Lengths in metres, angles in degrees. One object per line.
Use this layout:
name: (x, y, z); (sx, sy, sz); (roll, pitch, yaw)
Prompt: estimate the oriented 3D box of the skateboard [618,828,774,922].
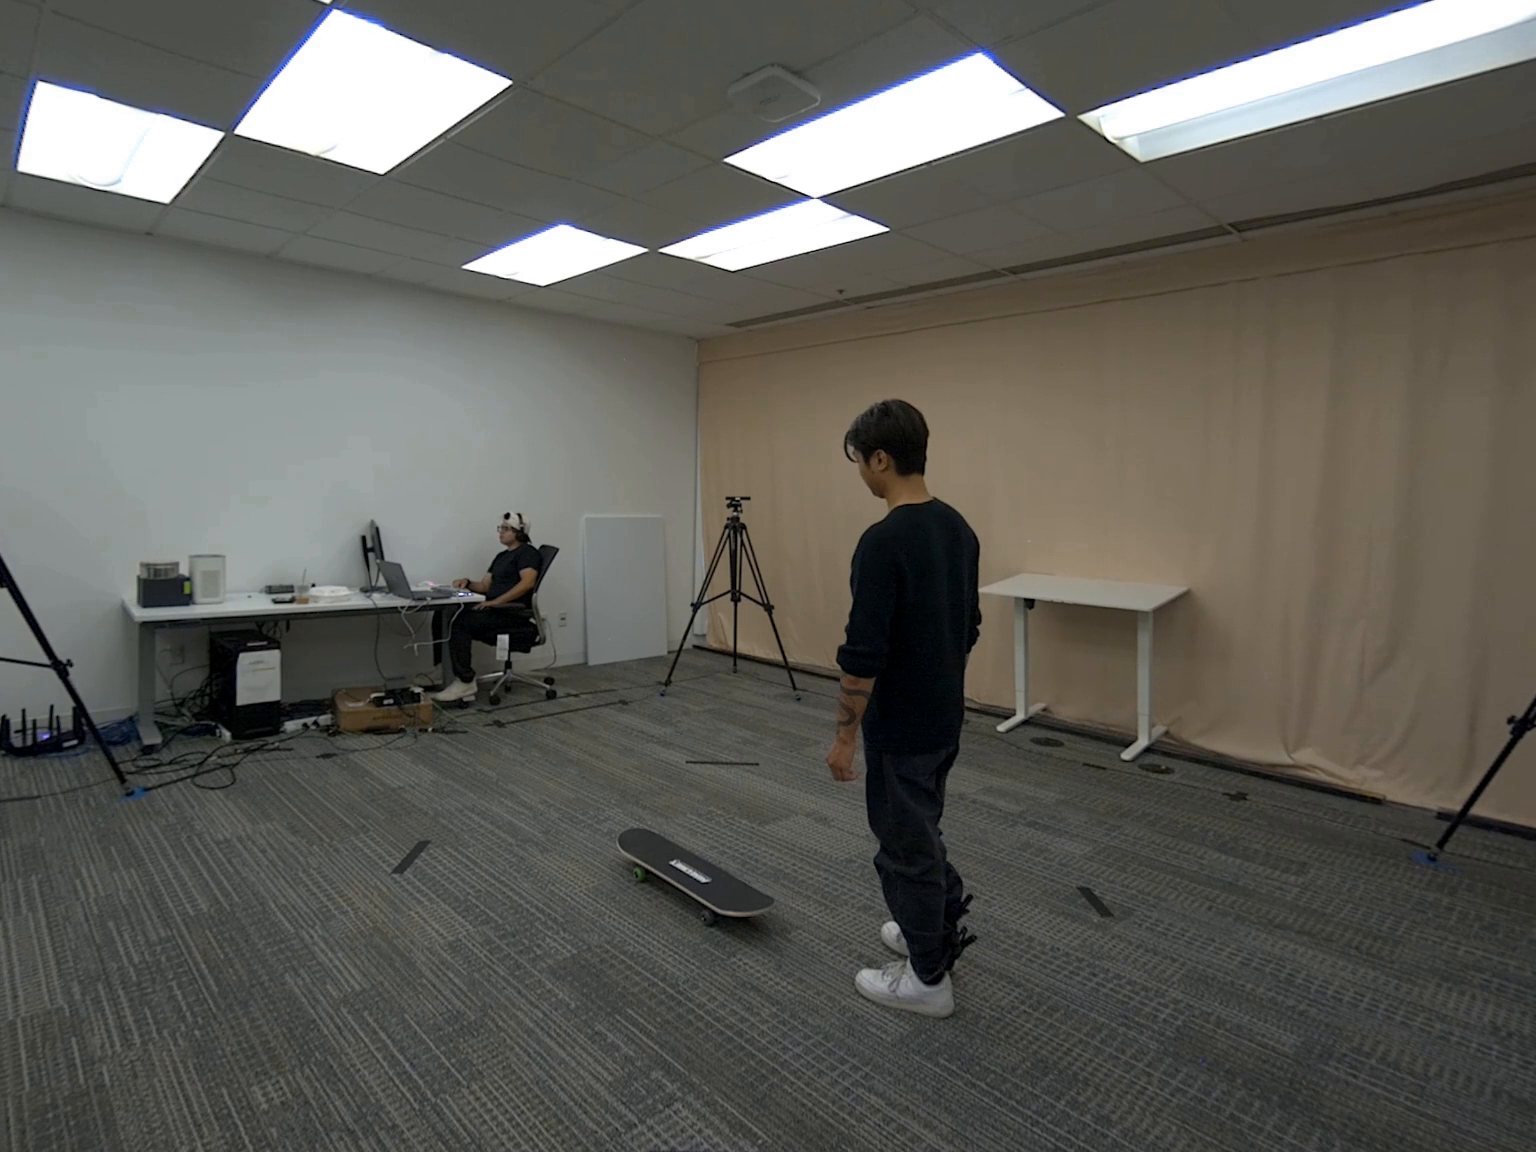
skateboard: (-0.284, 1.064, 2.944); (0.189, 0.110, 0.806); (-2, 6, -41)
